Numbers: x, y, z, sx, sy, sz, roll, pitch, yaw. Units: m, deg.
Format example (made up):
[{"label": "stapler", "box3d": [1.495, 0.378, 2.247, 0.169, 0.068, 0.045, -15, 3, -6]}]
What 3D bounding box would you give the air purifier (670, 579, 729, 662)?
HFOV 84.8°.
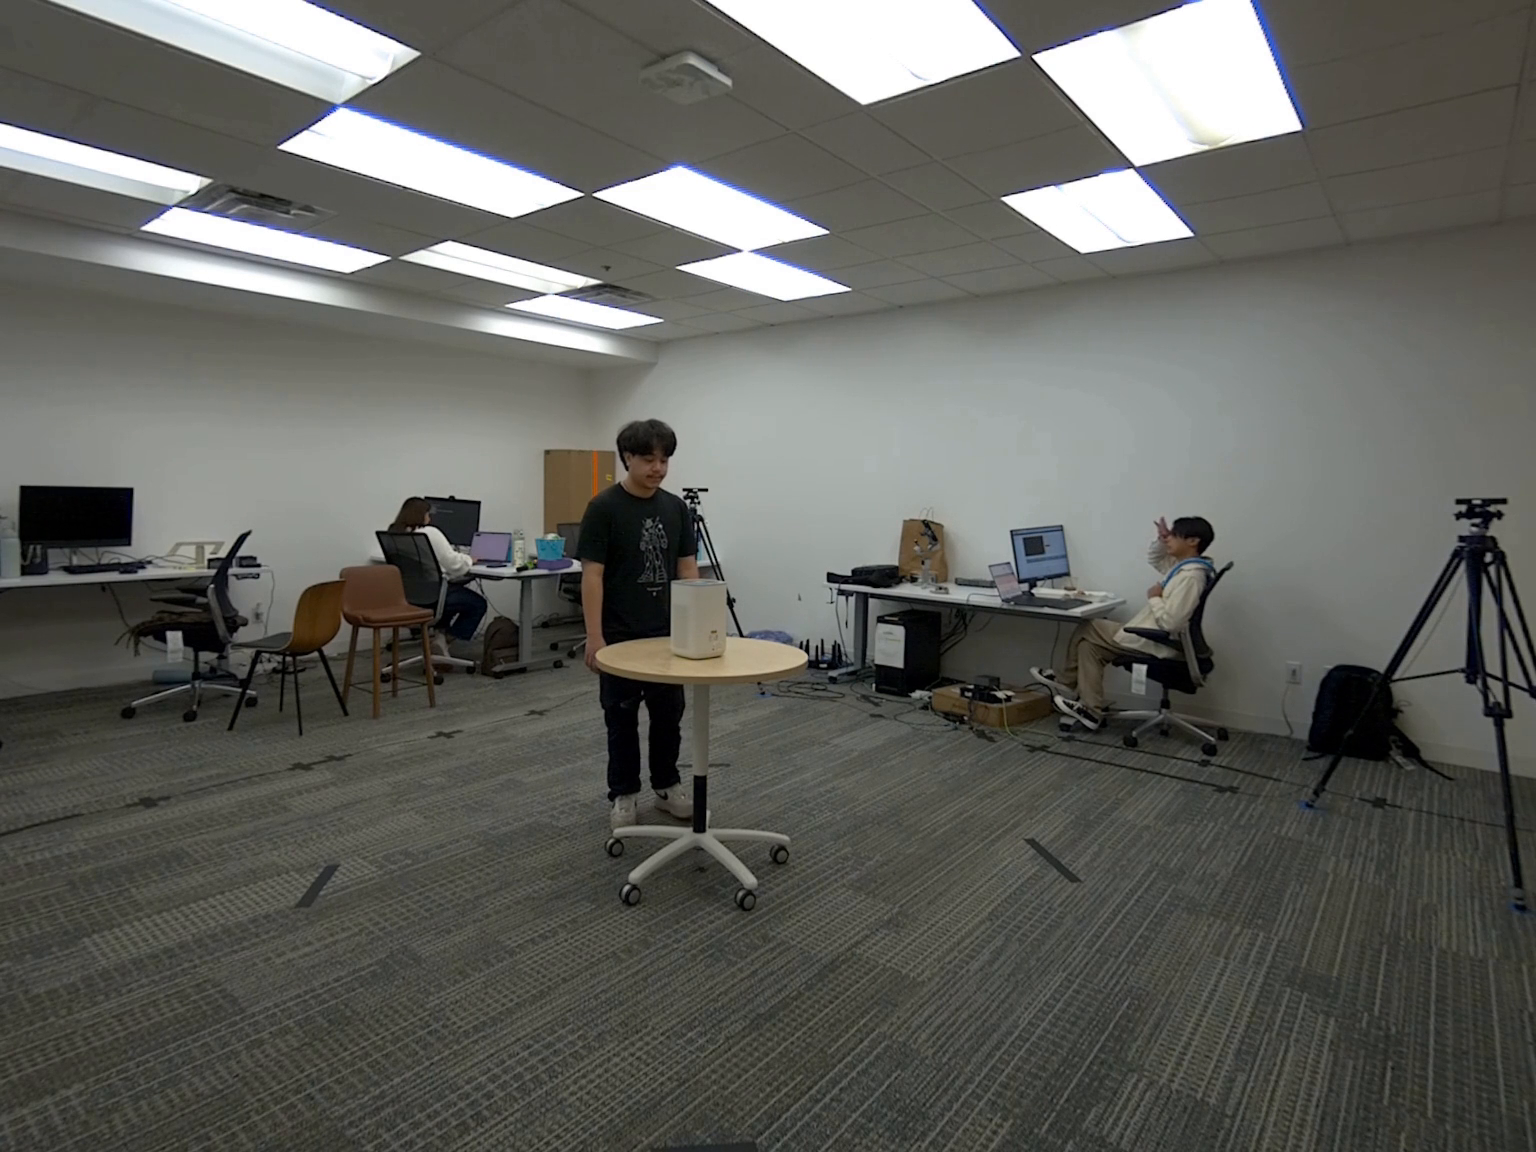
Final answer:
[{"label": "air purifier", "box3d": [-0.257, 0.151, 3.033, 0.166, 0.265, 0.177, -2, 4, -44]}]
